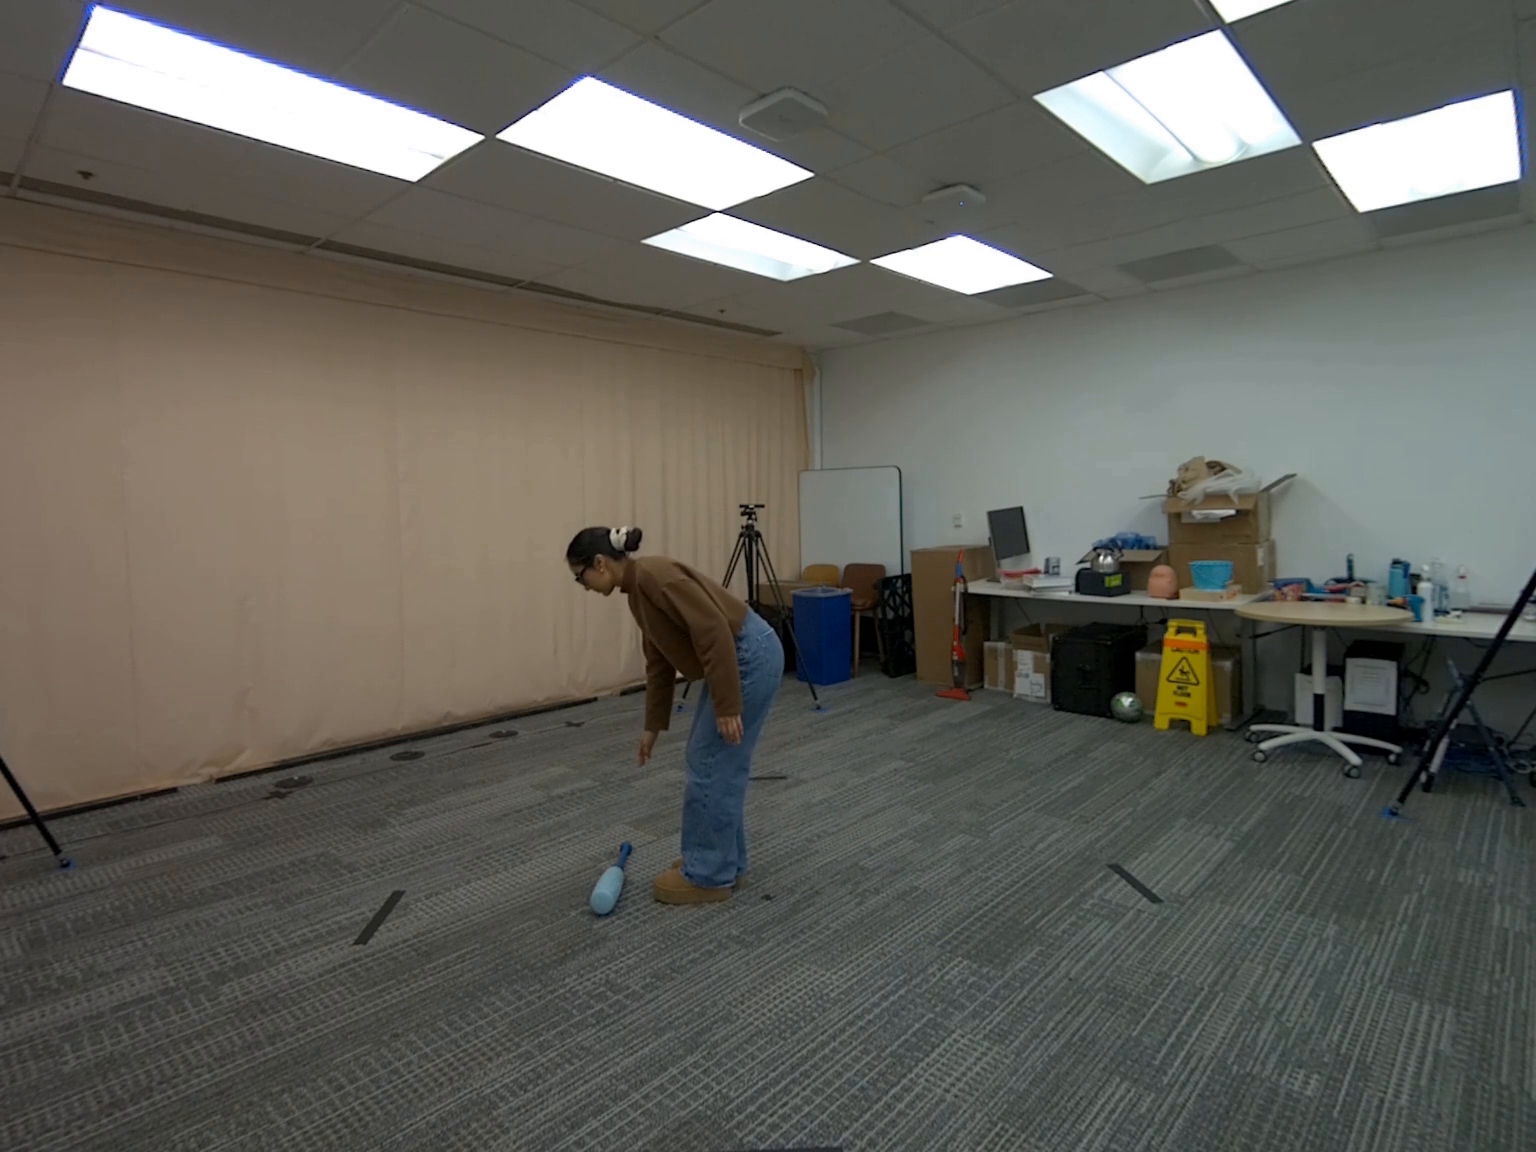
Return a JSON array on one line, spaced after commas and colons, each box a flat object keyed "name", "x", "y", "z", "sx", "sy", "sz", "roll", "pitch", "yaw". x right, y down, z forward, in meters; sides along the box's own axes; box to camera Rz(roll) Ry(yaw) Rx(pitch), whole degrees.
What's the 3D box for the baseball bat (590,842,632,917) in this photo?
[{"name": "baseball bat", "x": -0.565, "y": 1.109, "z": 3.123, "sx": 0.089, "sy": 0.089, "sz": 0.542, "roll": -1, "pitch": 1, "yaw": -1}]
